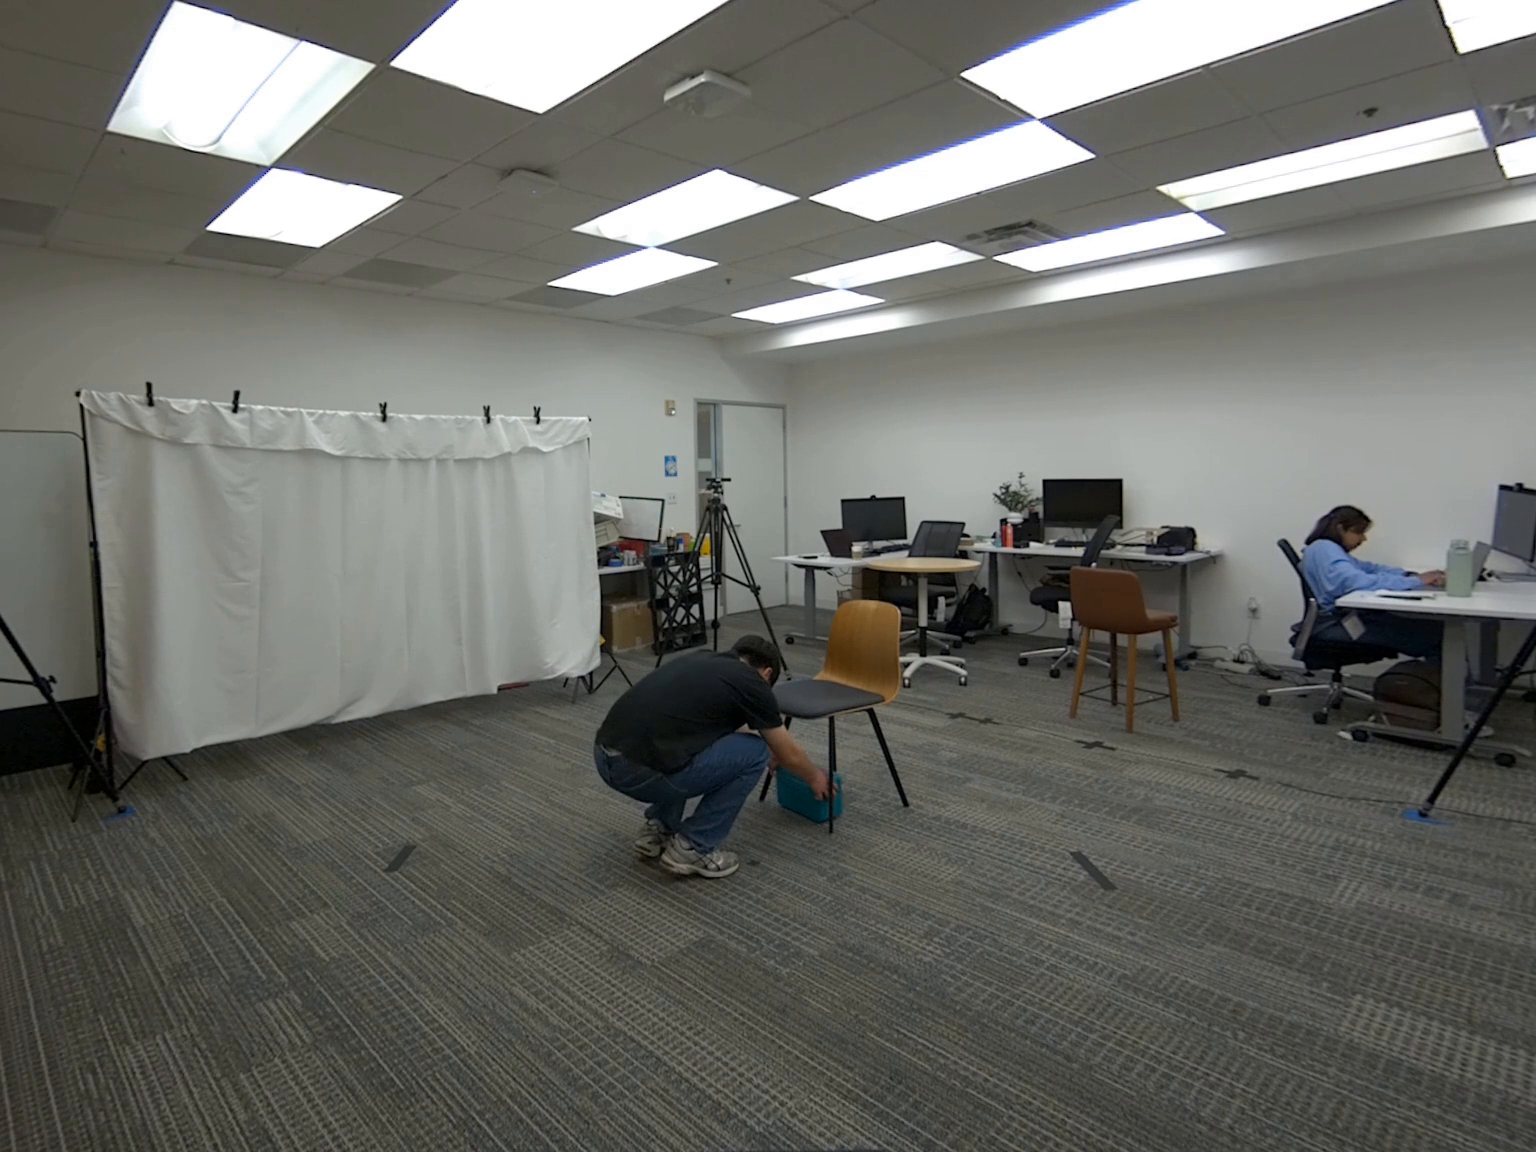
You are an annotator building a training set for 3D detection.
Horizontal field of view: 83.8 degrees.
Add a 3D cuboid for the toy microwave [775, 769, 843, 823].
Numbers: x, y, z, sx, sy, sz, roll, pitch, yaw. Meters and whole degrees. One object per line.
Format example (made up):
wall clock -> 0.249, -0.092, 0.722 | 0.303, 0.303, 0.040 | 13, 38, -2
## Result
toy microwave -> 0.182, 0.896, 3.574 | 0.148, 0.183, 0.295 | -5, 8, -36
